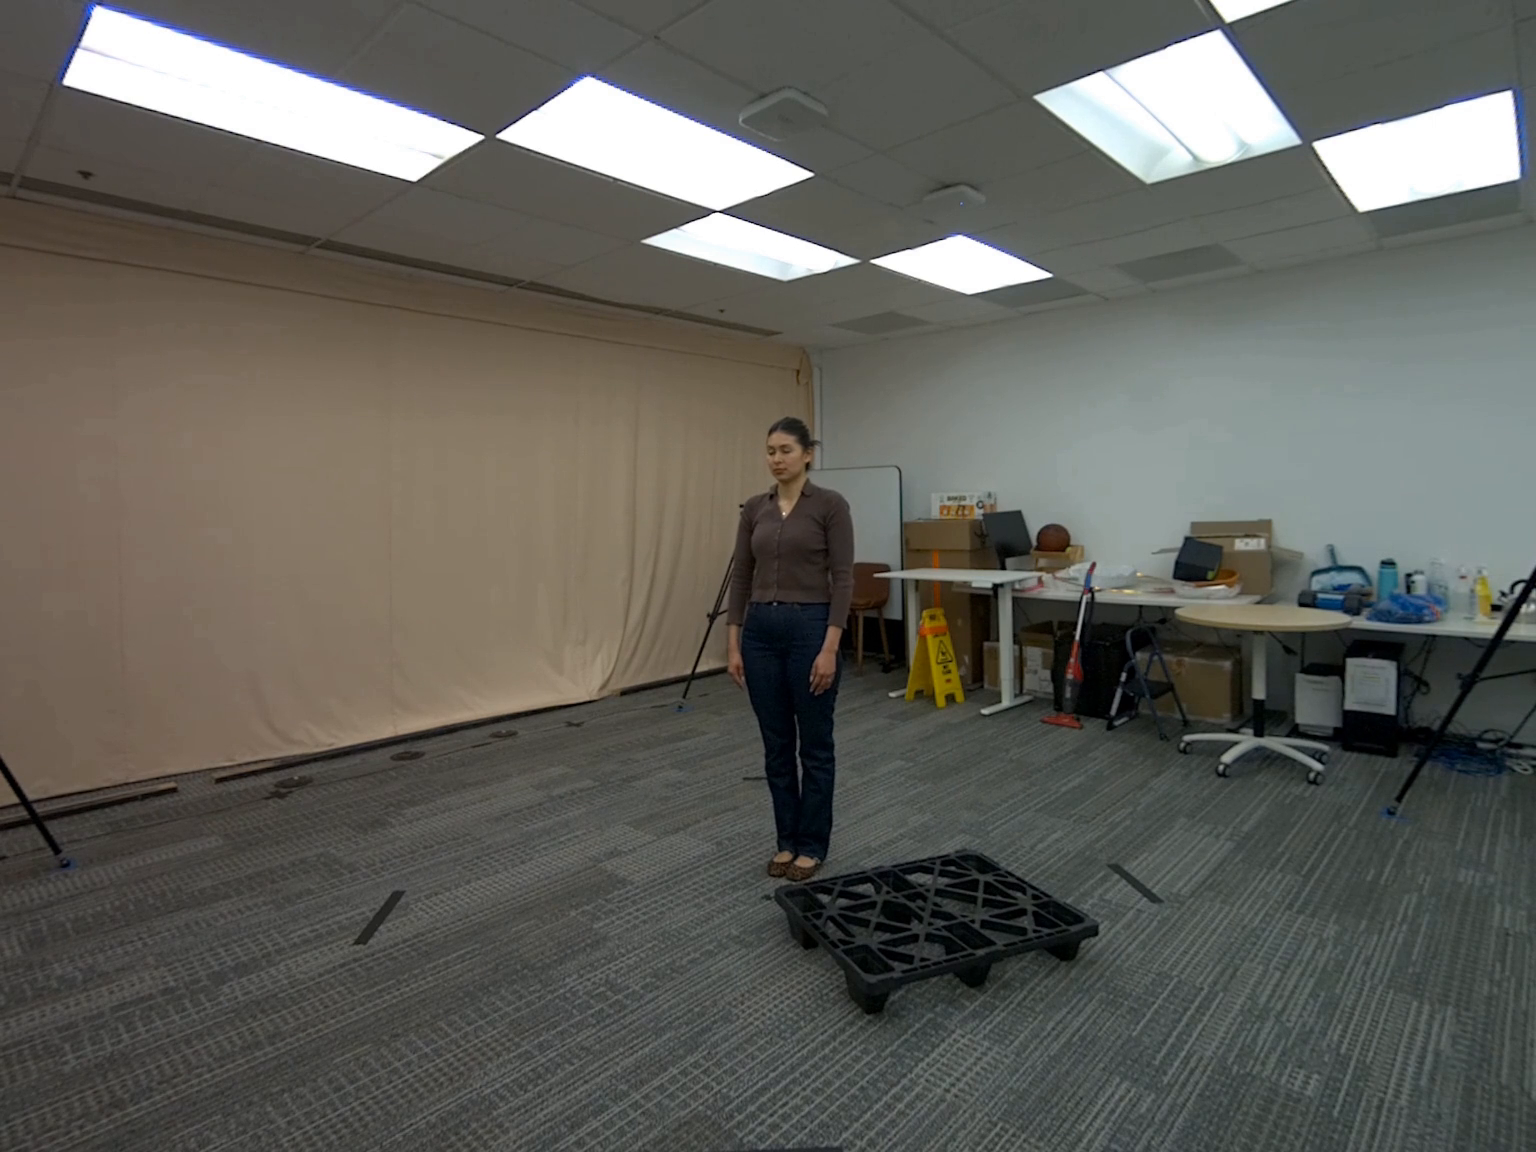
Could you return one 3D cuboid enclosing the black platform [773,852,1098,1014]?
[{"bbox_3d":[0.513,1.093,2.628,0.788,0.143,0.620,-3,6,-23],"label":"black platform"}]
